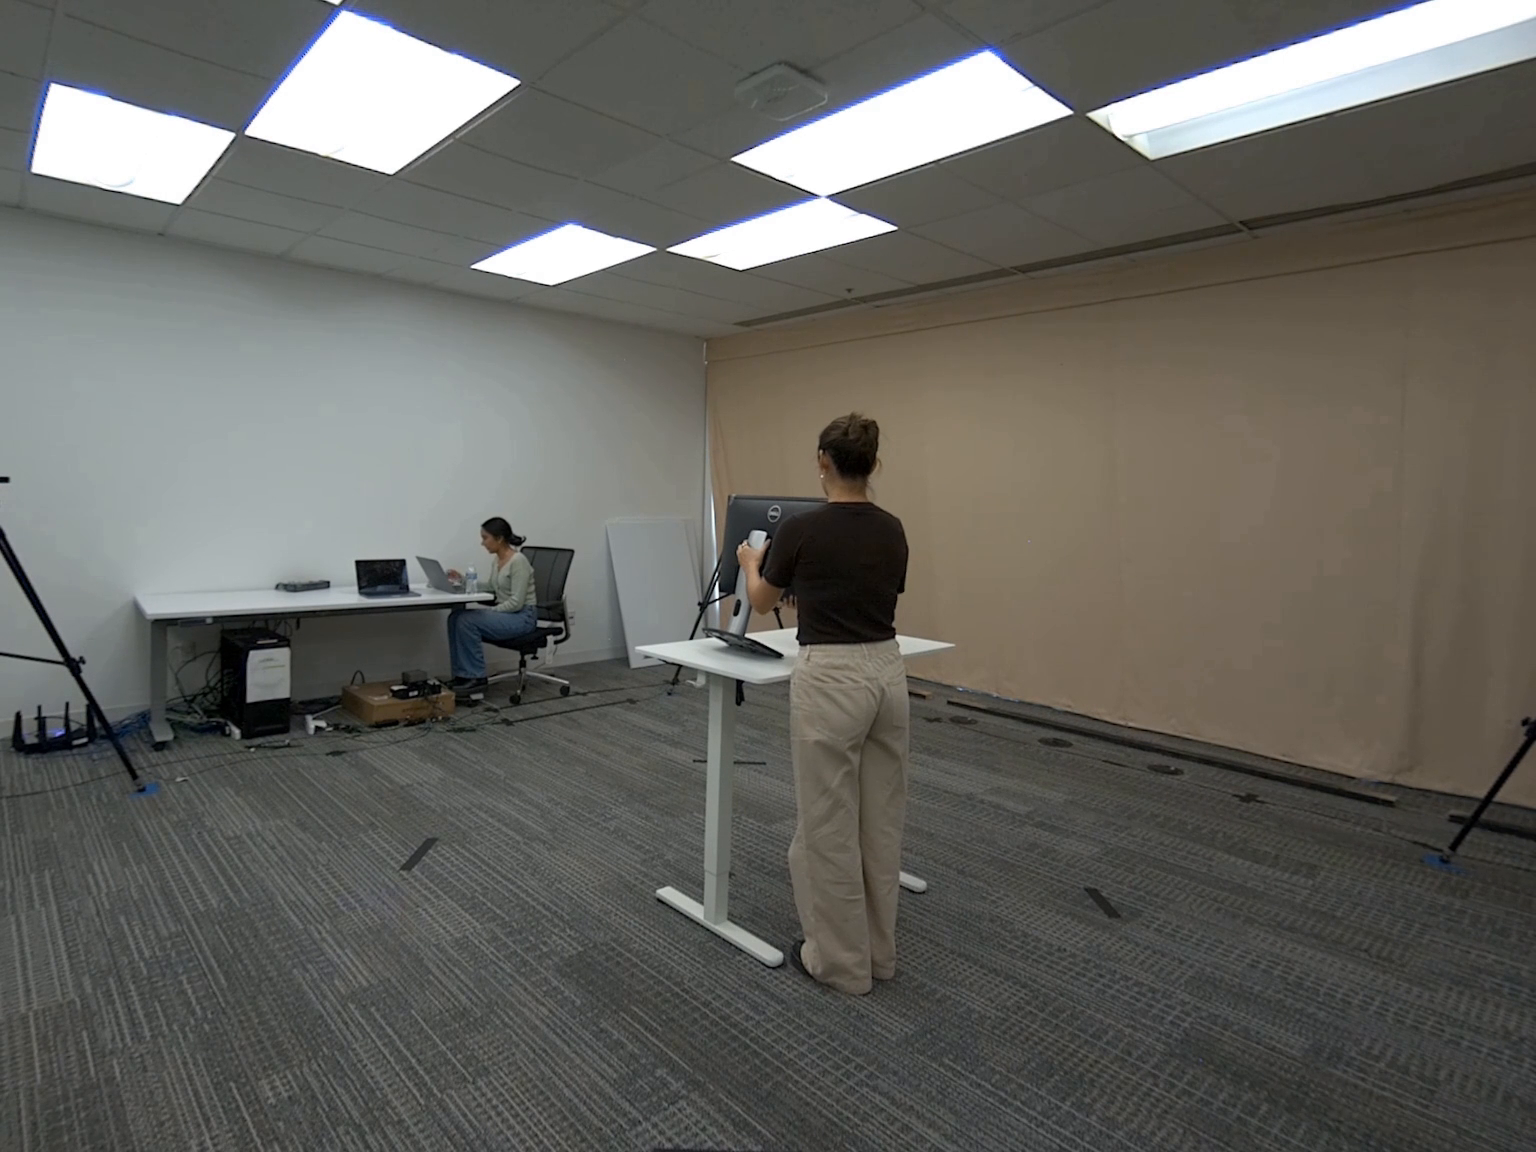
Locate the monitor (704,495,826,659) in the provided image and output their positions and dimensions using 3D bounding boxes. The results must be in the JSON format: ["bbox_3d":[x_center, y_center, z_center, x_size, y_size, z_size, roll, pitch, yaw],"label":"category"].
[{"bbox_3d":[-0.021,-0.014,2.790,0.553,0.525,0.181,7,-14,45],"label":"monitor"}]
